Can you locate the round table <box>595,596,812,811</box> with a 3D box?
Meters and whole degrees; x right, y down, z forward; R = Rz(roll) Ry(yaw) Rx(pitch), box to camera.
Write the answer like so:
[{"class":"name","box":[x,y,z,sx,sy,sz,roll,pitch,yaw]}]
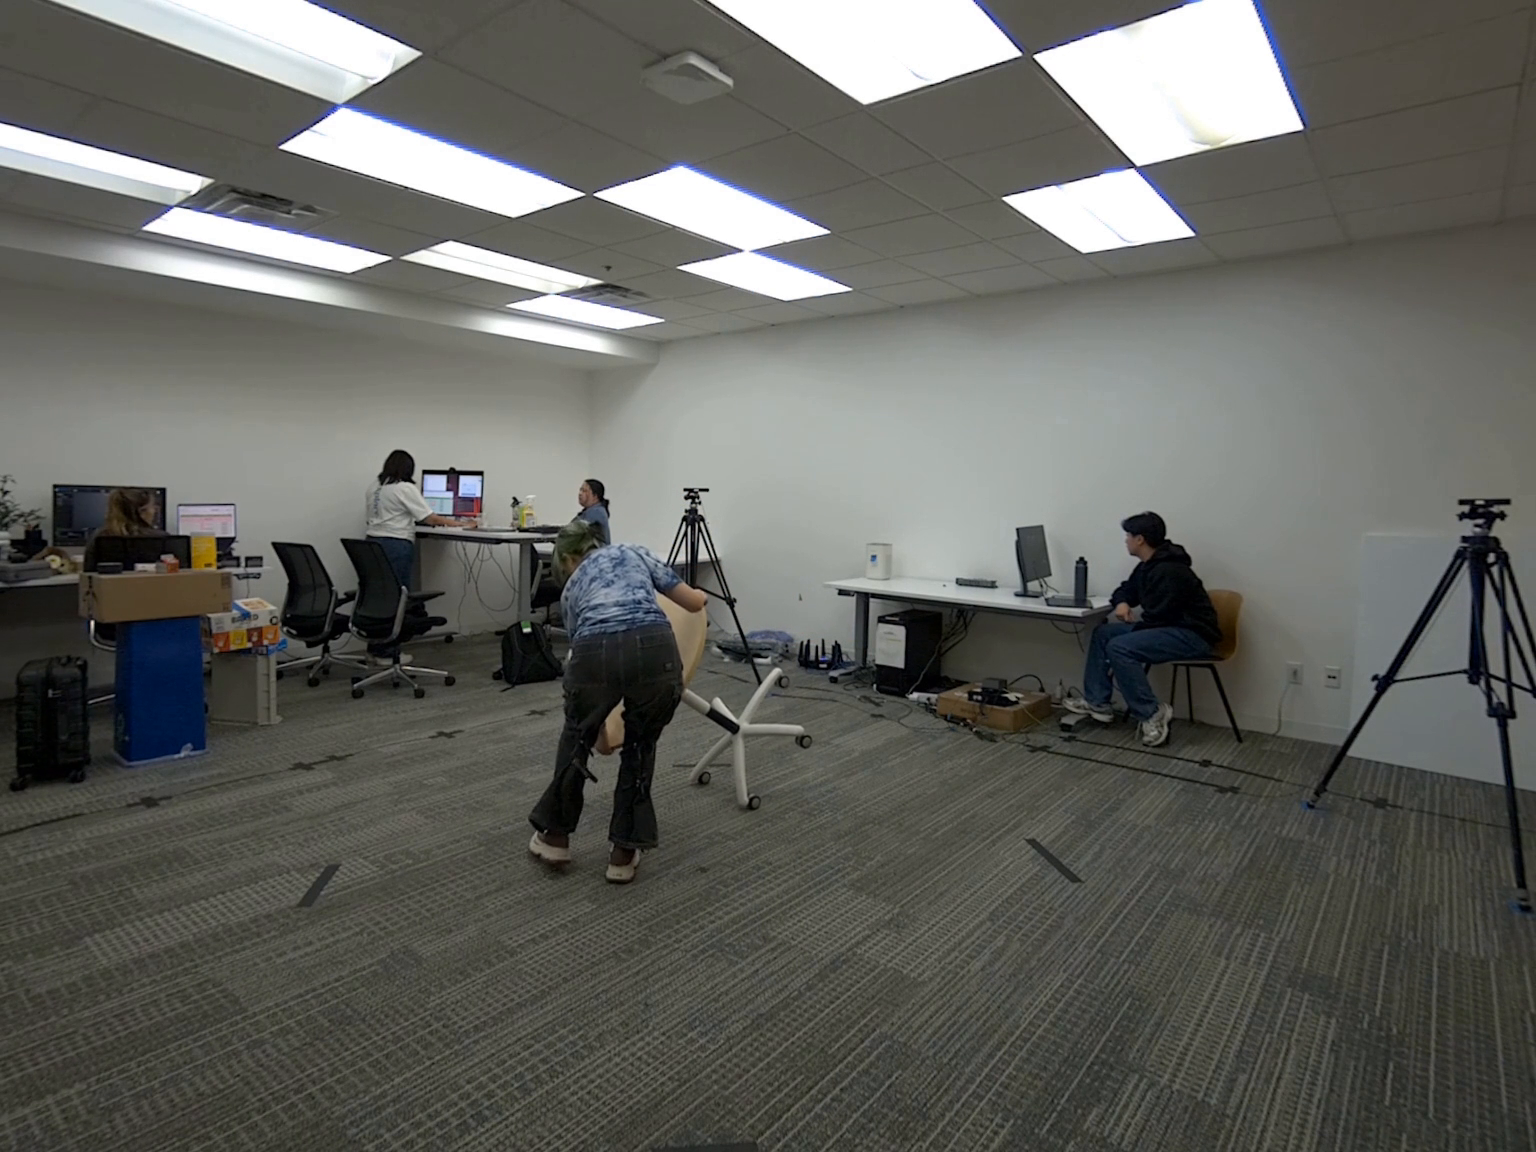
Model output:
[{"class":"round table","box":[-0.324,0.565,3.774,0.764,0.768,0.789,40,-20,-32]}]
